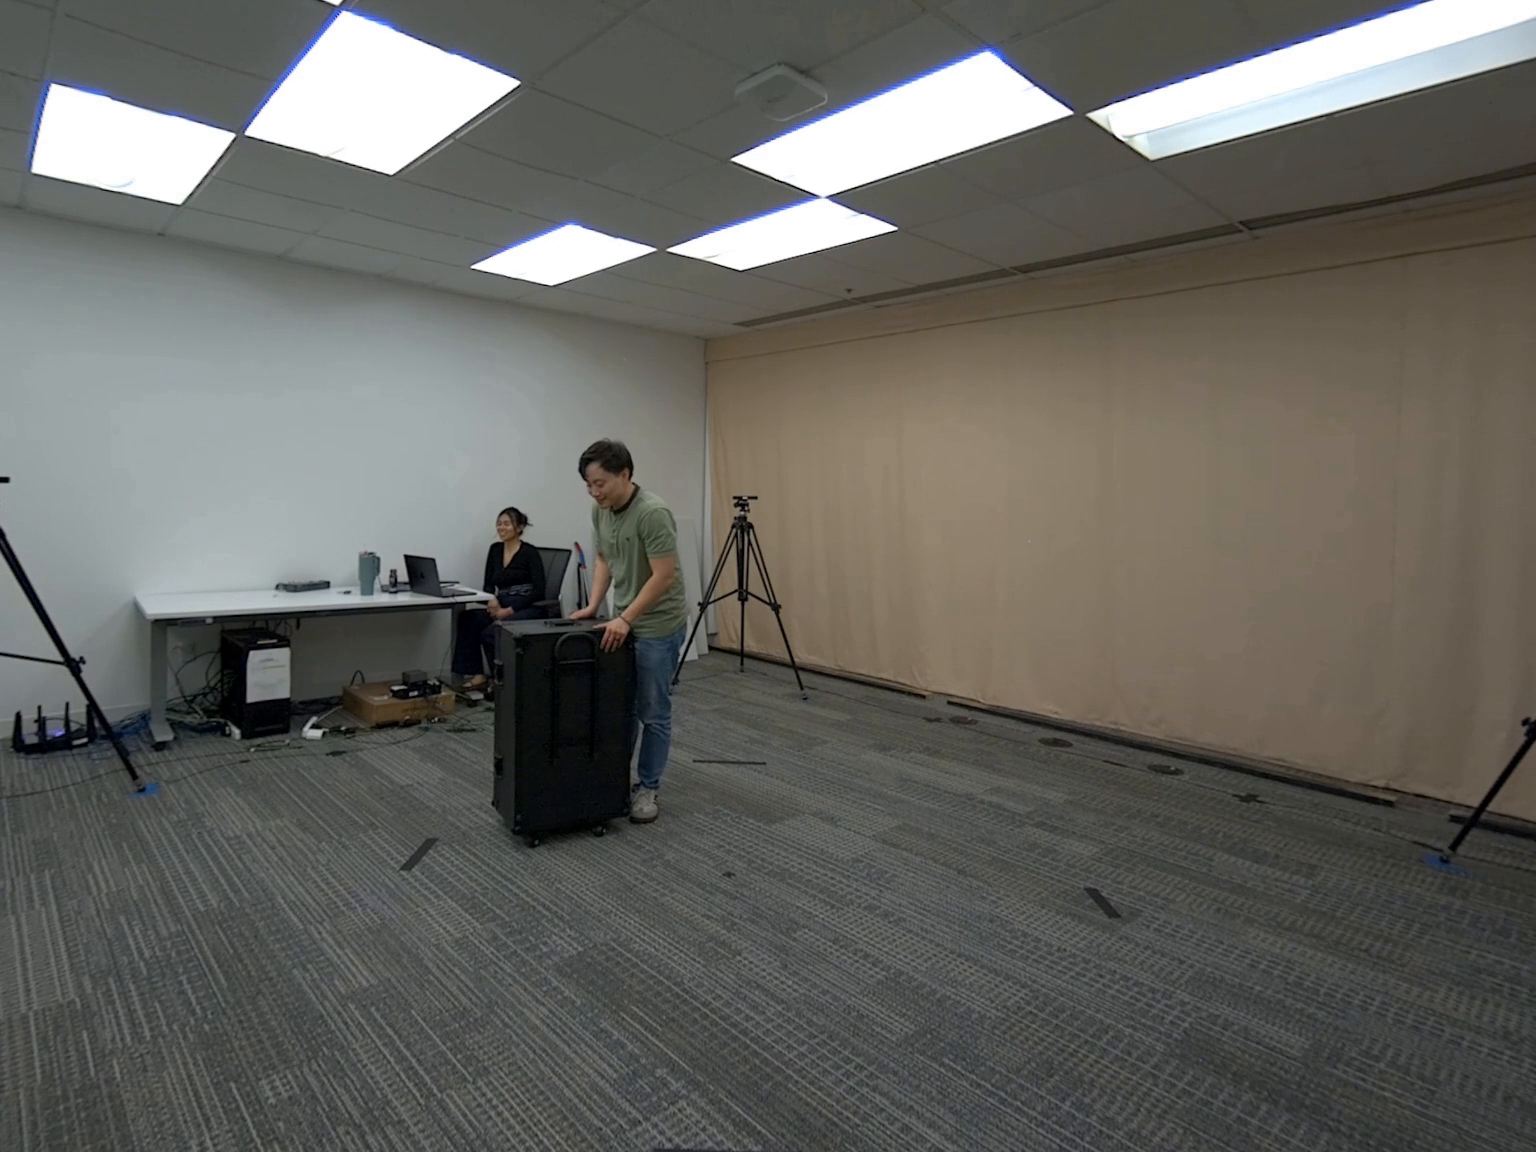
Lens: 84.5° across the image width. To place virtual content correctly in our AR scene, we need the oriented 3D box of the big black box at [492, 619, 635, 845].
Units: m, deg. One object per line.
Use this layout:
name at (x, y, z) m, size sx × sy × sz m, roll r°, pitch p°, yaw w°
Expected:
big black box at (-0.860, 0.632, 3.476) m, size 0.511 × 0.859 × 0.405 m, roll 0°, pitch 5°, yaw -28°
